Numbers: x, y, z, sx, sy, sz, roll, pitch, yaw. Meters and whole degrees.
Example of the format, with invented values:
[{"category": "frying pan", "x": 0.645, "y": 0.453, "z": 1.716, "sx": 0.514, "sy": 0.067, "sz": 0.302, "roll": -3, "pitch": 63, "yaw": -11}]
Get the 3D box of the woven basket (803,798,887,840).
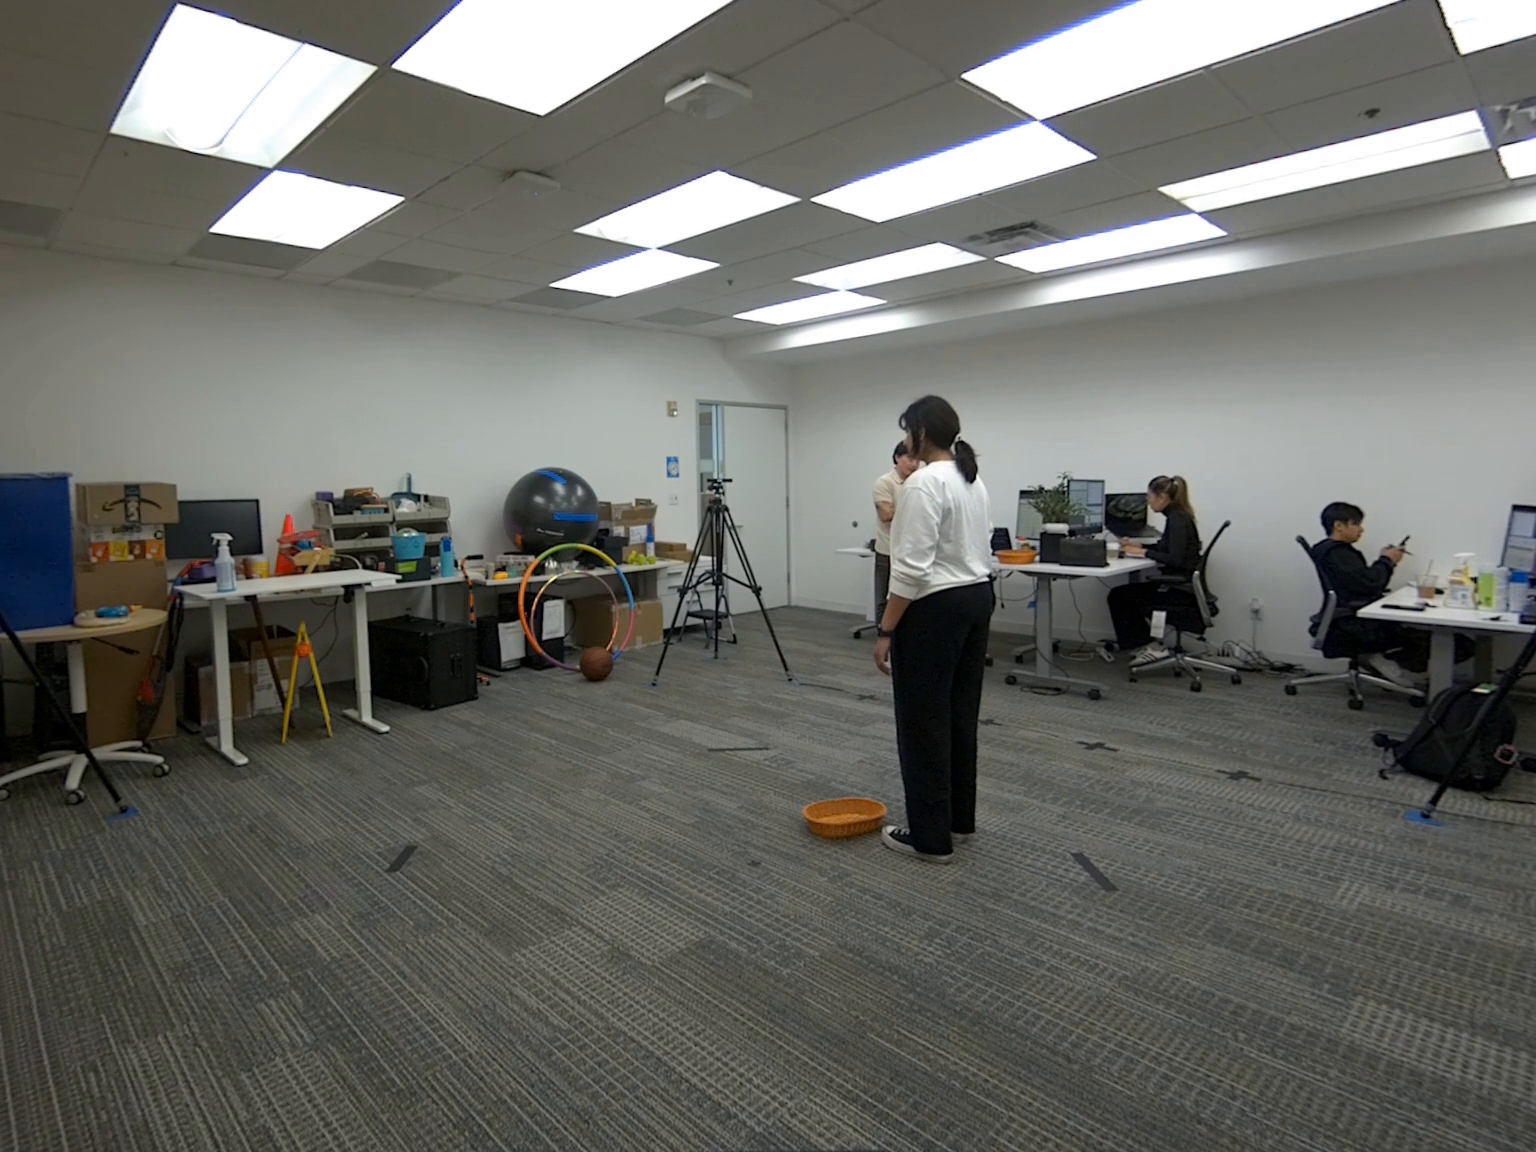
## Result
[{"category": "woven basket", "x": 0.306, "y": 0.964, "z": 3.418, "sx": 0.346, "sy": 0.073, "sz": 0.257, "roll": -3, "pitch": 6, "yaw": -15}]
